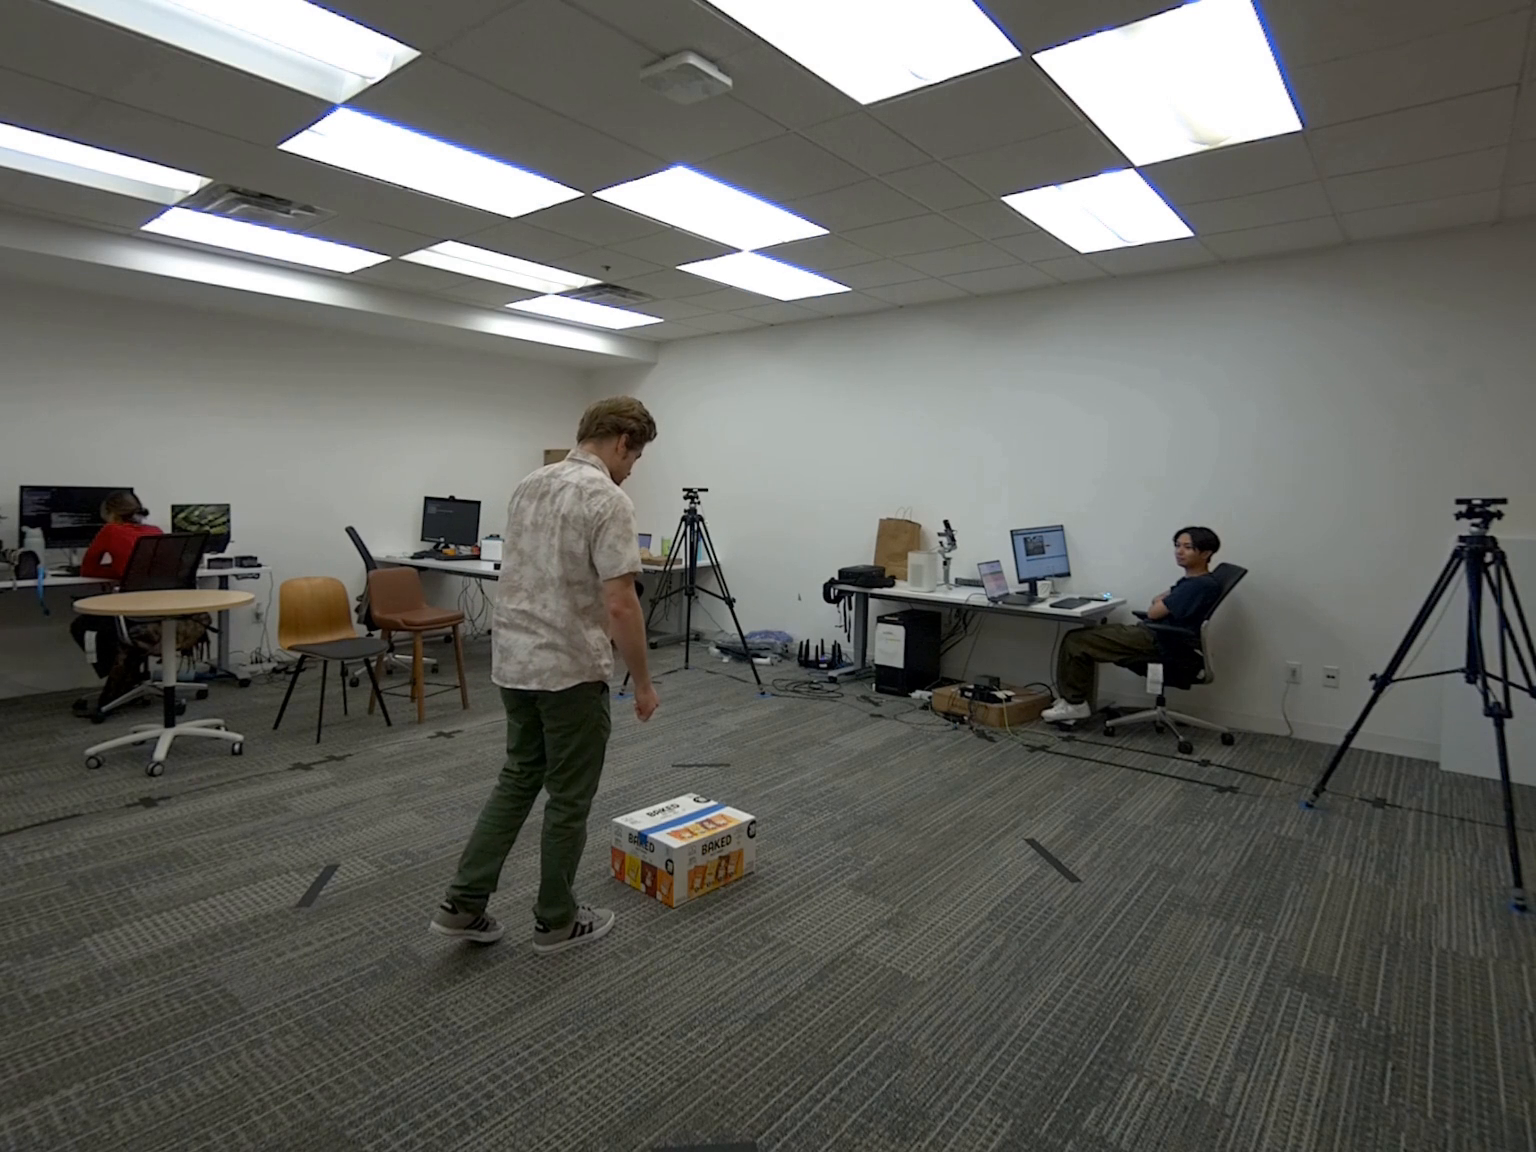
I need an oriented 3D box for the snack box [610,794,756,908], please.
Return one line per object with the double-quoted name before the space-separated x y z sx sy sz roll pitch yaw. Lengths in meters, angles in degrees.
"snack box" -0.312 0.971 3.063 0.352 0.205 0.393 6 7 42
